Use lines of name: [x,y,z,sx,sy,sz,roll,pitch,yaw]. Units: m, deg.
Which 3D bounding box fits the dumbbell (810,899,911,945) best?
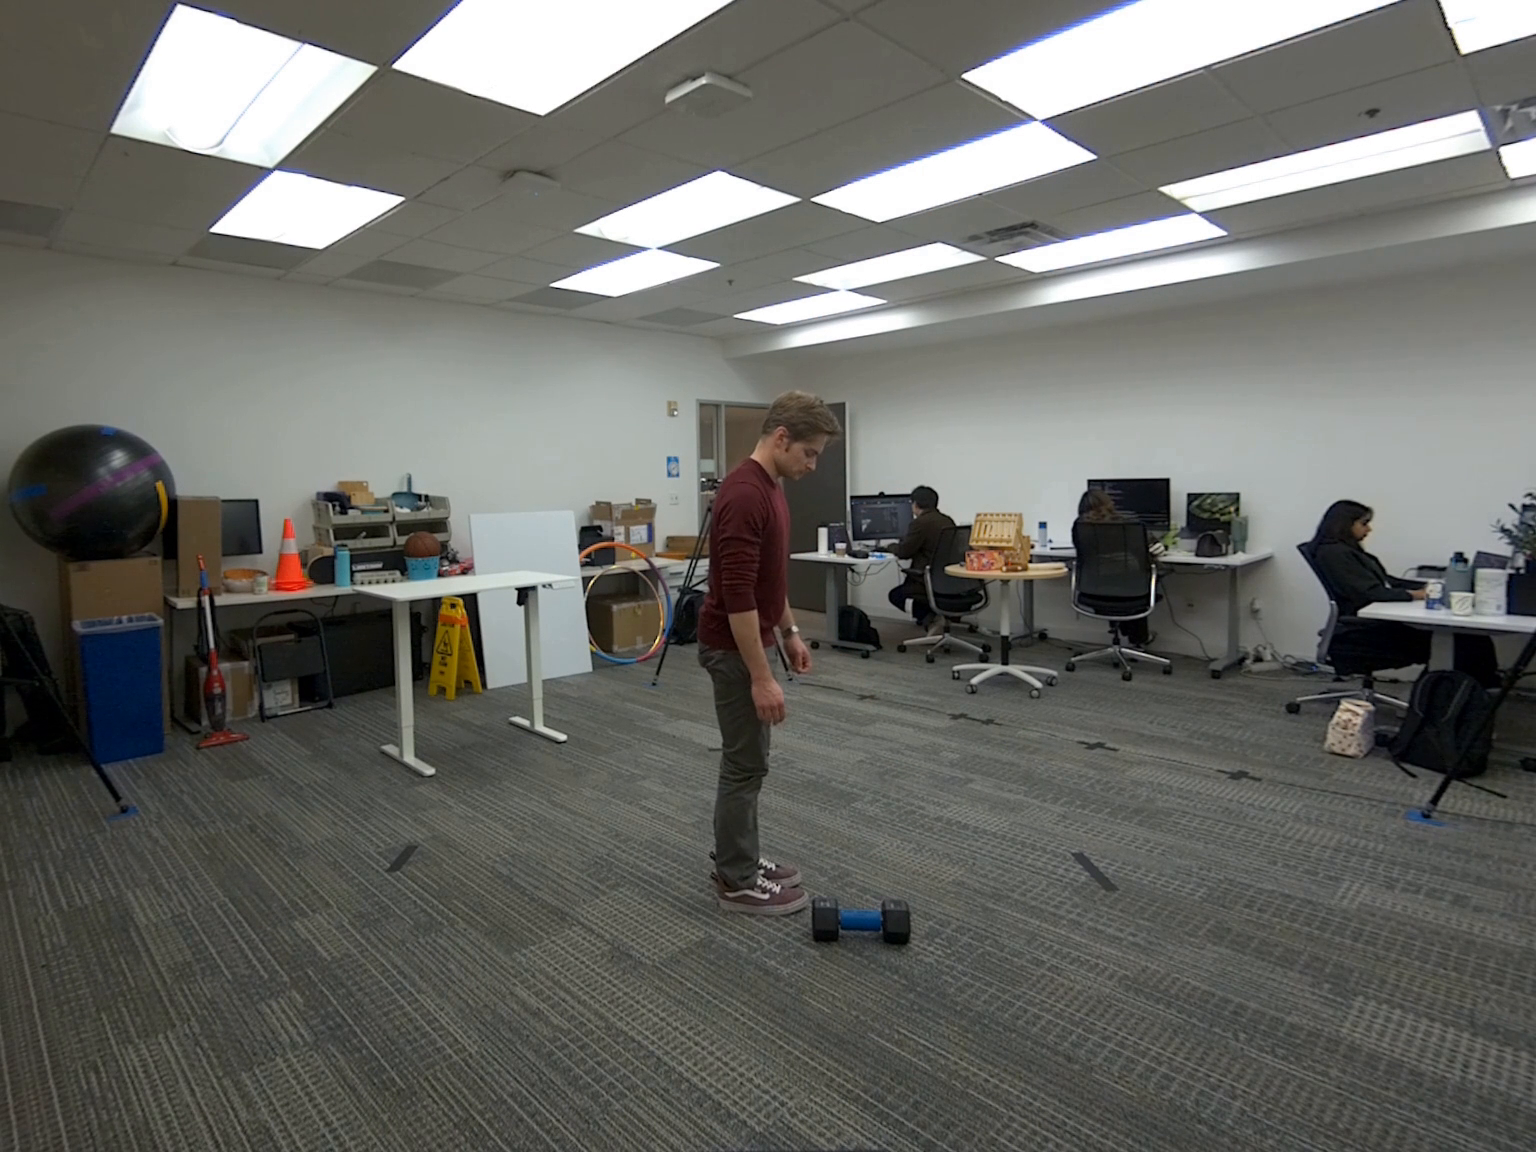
dumbbell: [0.289,1.048,2.587,0.295,0.125,0.106,-1,-26,6]
